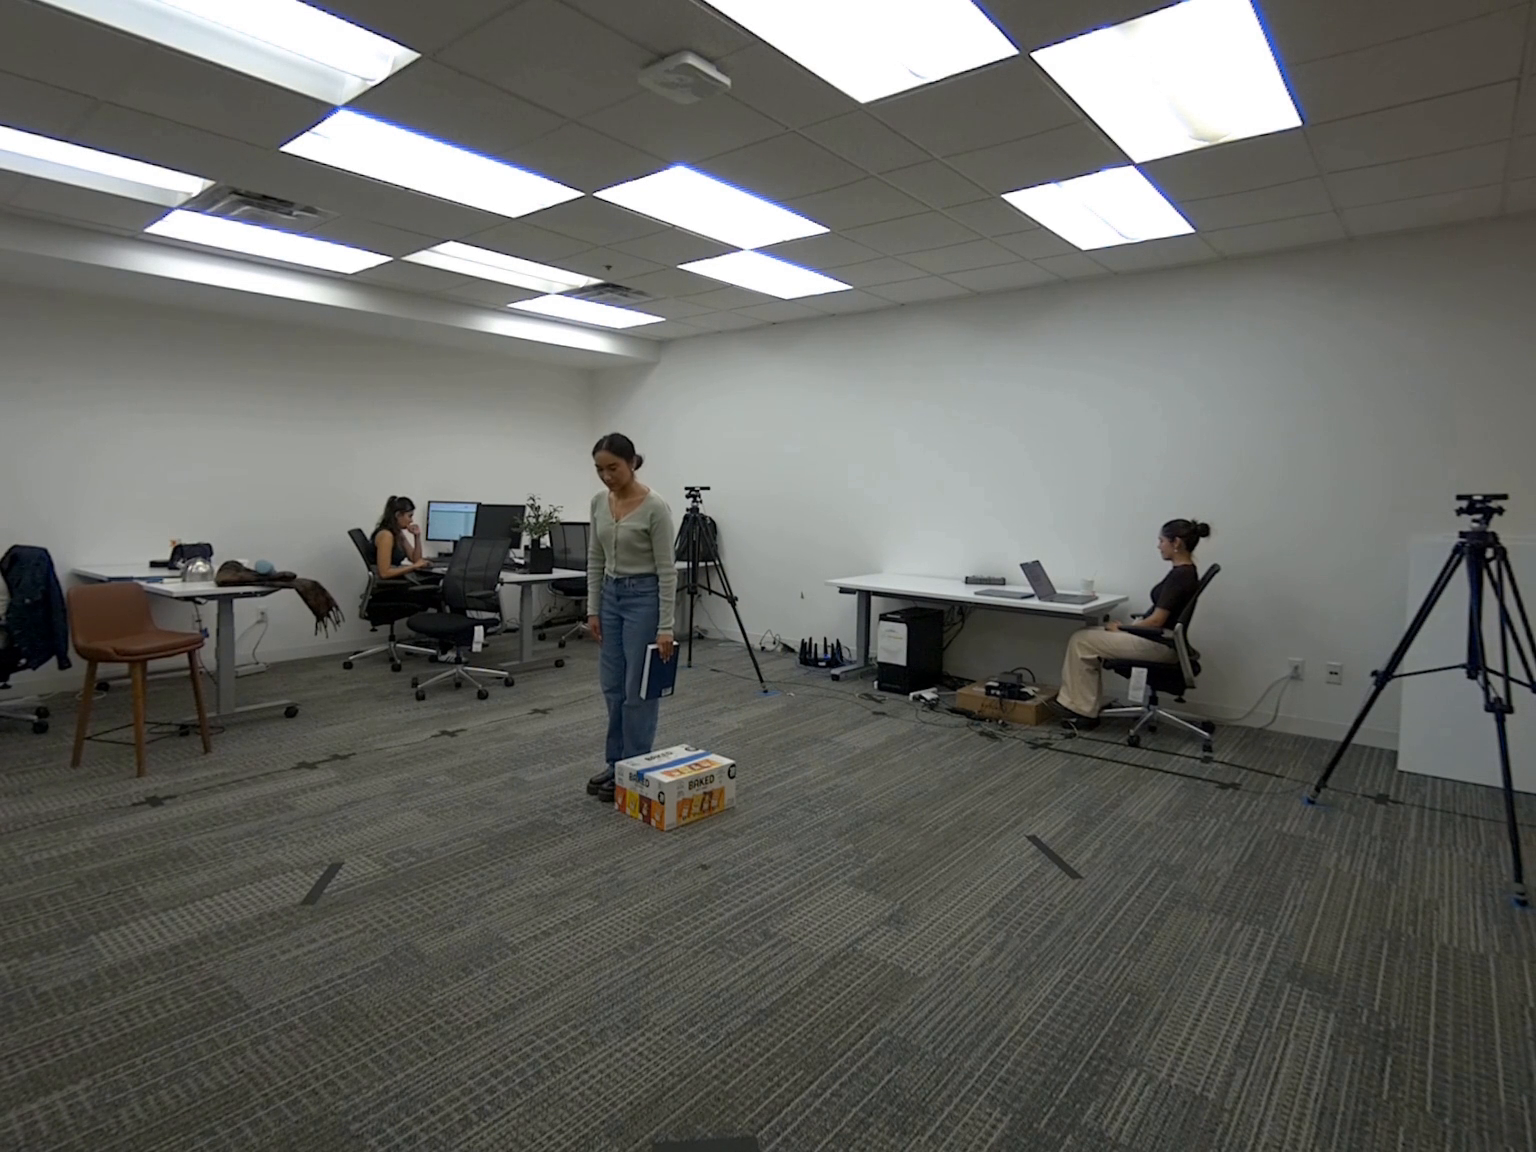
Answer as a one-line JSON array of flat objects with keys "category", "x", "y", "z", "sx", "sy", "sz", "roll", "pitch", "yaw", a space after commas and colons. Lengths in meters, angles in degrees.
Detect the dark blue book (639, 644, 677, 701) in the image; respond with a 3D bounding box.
[{"category": "dark blue book", "x": -0.490, "y": 0.413, "z": 3.725, "sx": 0.158, "sy": 0.243, "sz": 0.047, "roll": -3, "pitch": 17, "yaw": -44}]
